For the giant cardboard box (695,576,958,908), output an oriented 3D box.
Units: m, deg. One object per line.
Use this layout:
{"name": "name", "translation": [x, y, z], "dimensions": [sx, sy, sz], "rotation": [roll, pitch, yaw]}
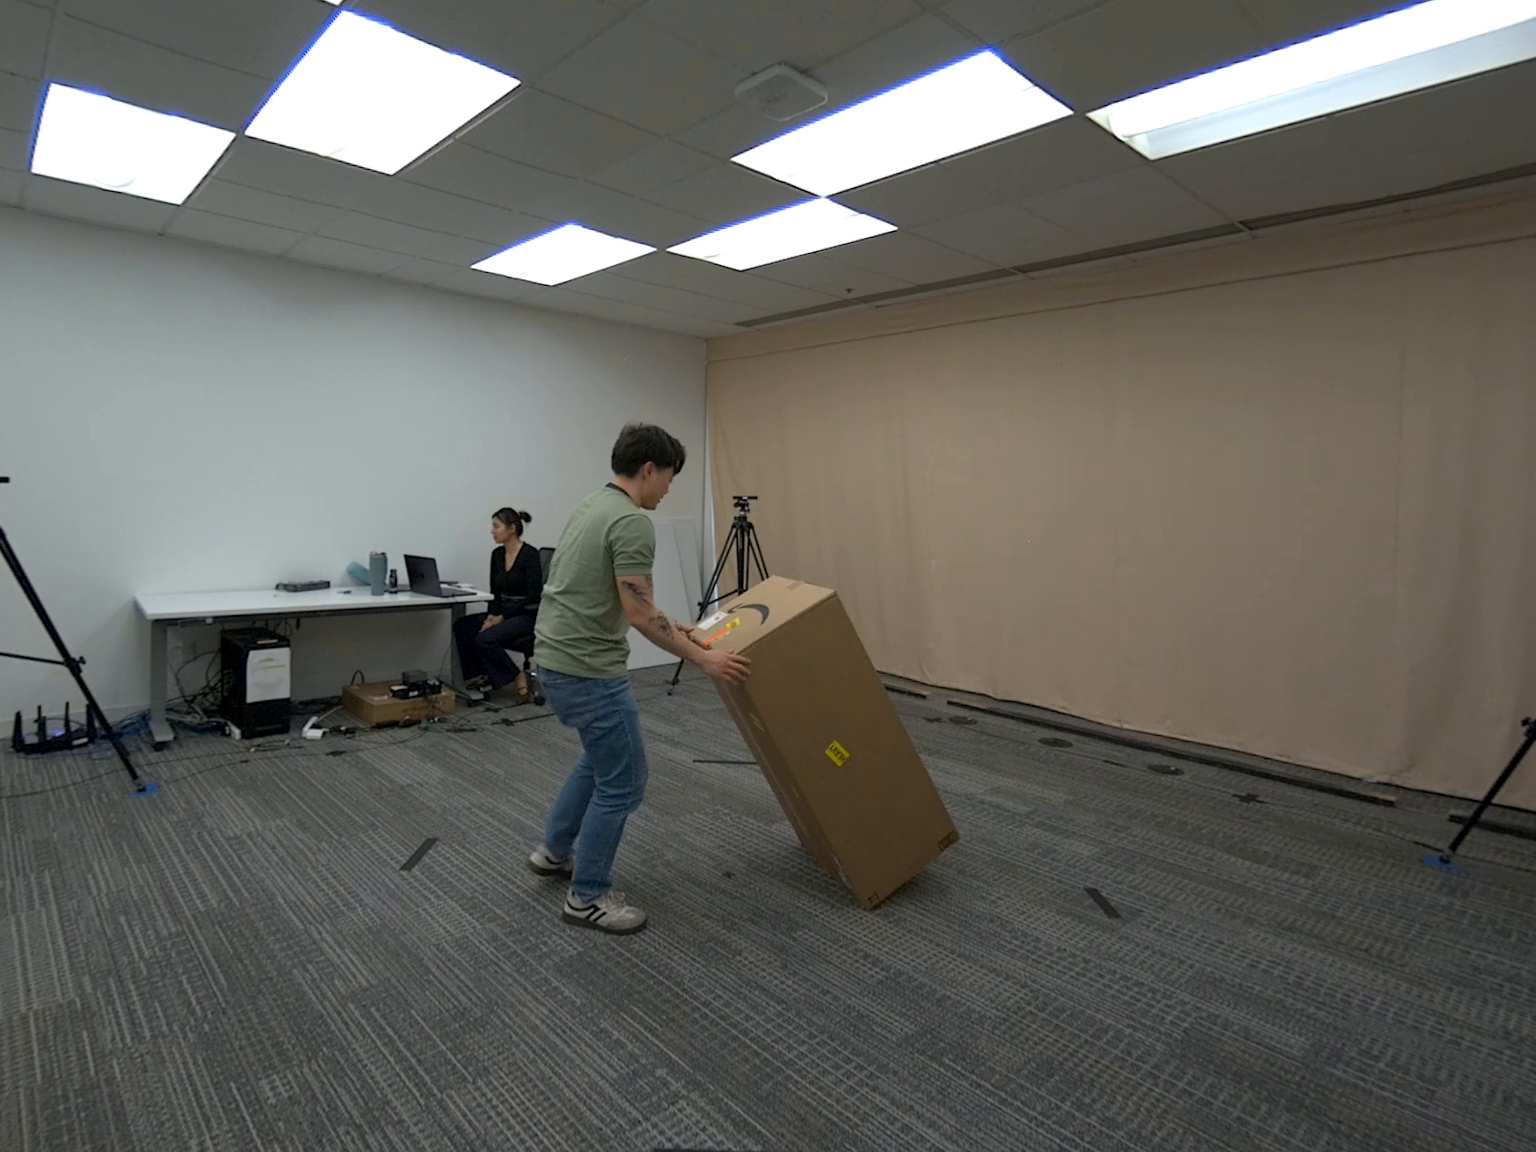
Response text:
{"name": "giant cardboard box", "translation": [0.173, 0.568, 3.068], "dimensions": [0.424, 1.013, 0.587], "rotation": [-31, 13, -15]}
